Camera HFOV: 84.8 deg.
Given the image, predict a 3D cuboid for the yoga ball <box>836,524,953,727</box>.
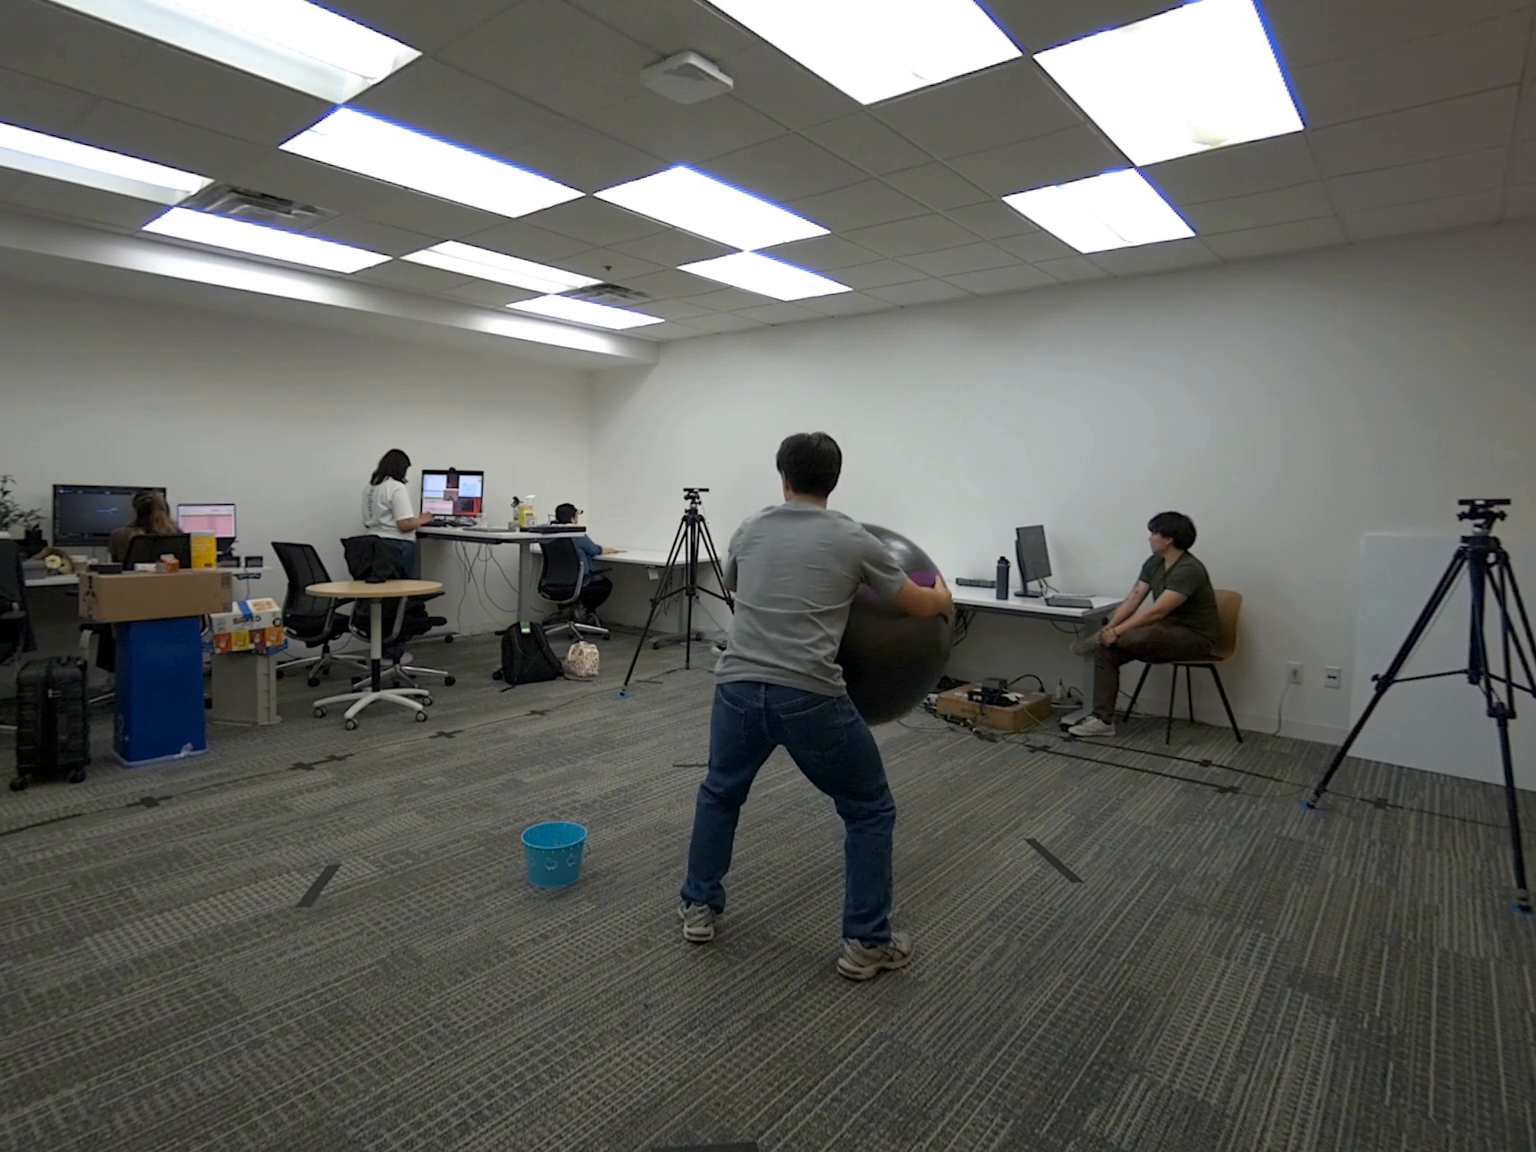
[{"bbox_3d":[0.304,0.179,3.177,0.757,0.755,0.762,1,4,-2],"label":"yoga ball"}]
